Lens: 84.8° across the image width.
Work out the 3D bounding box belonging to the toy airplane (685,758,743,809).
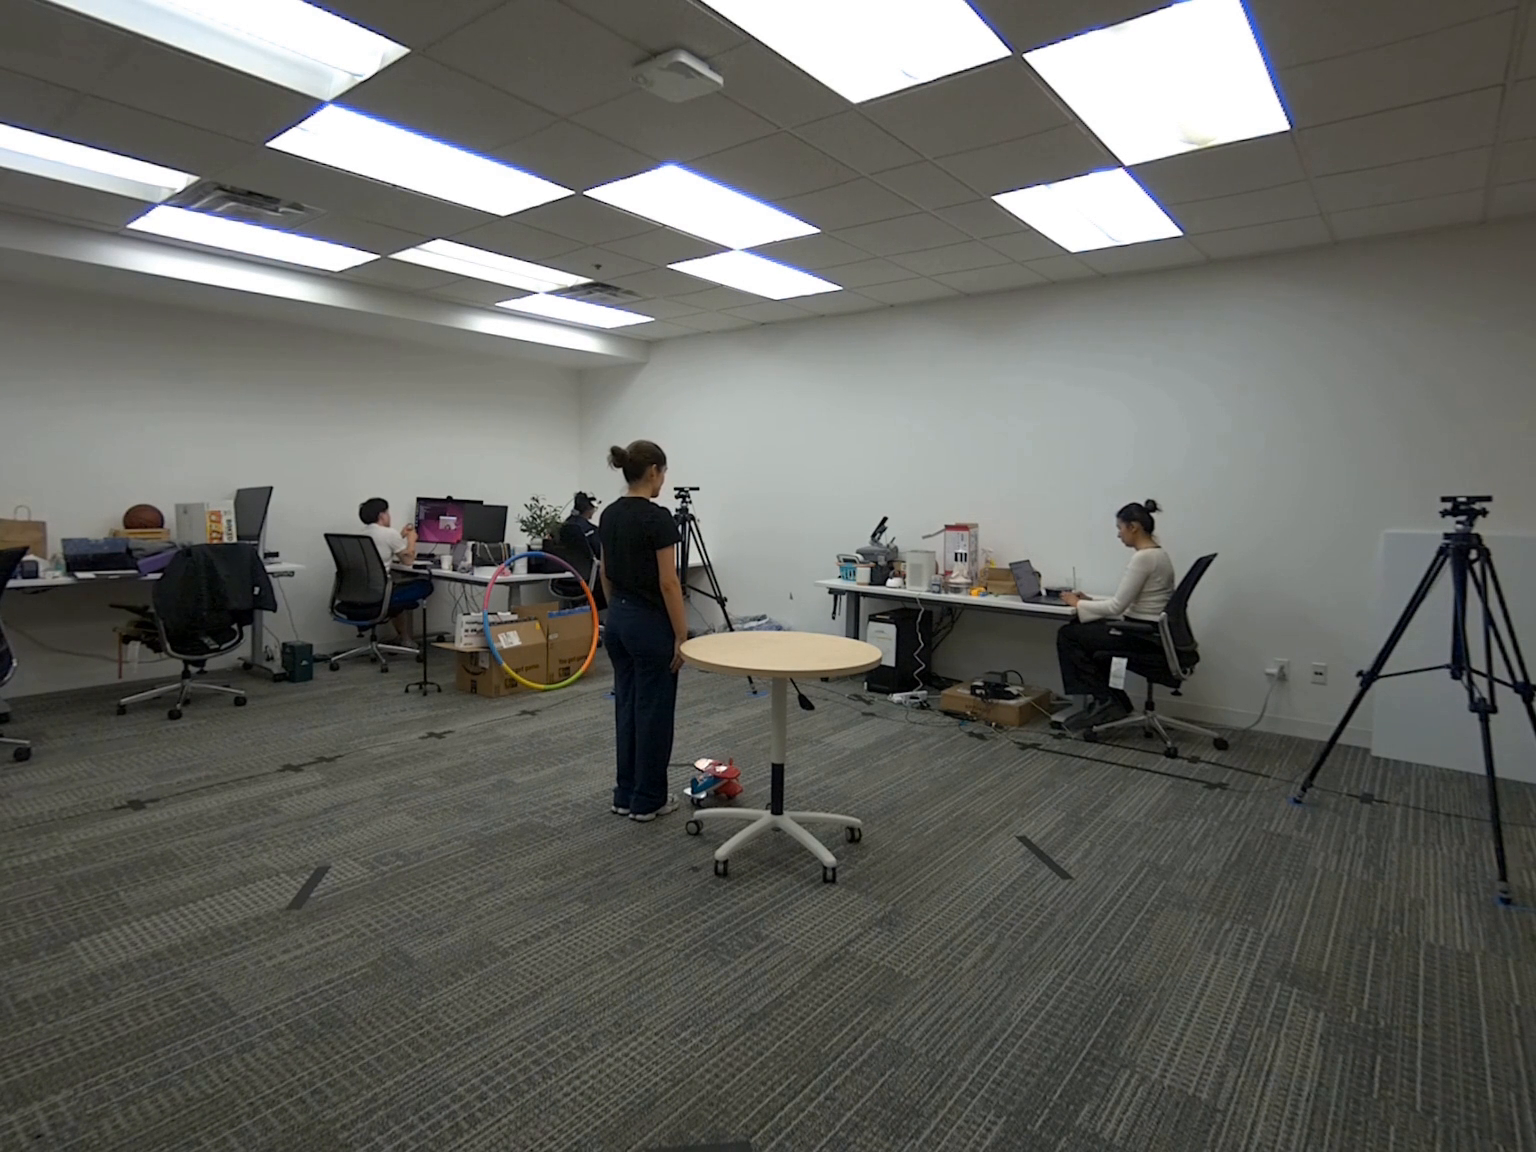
[{"bbox_3d":[-0.221,0.929,3.796,0.255,0.156,0.255,2,3,14],"label":"toy airplane"}]
